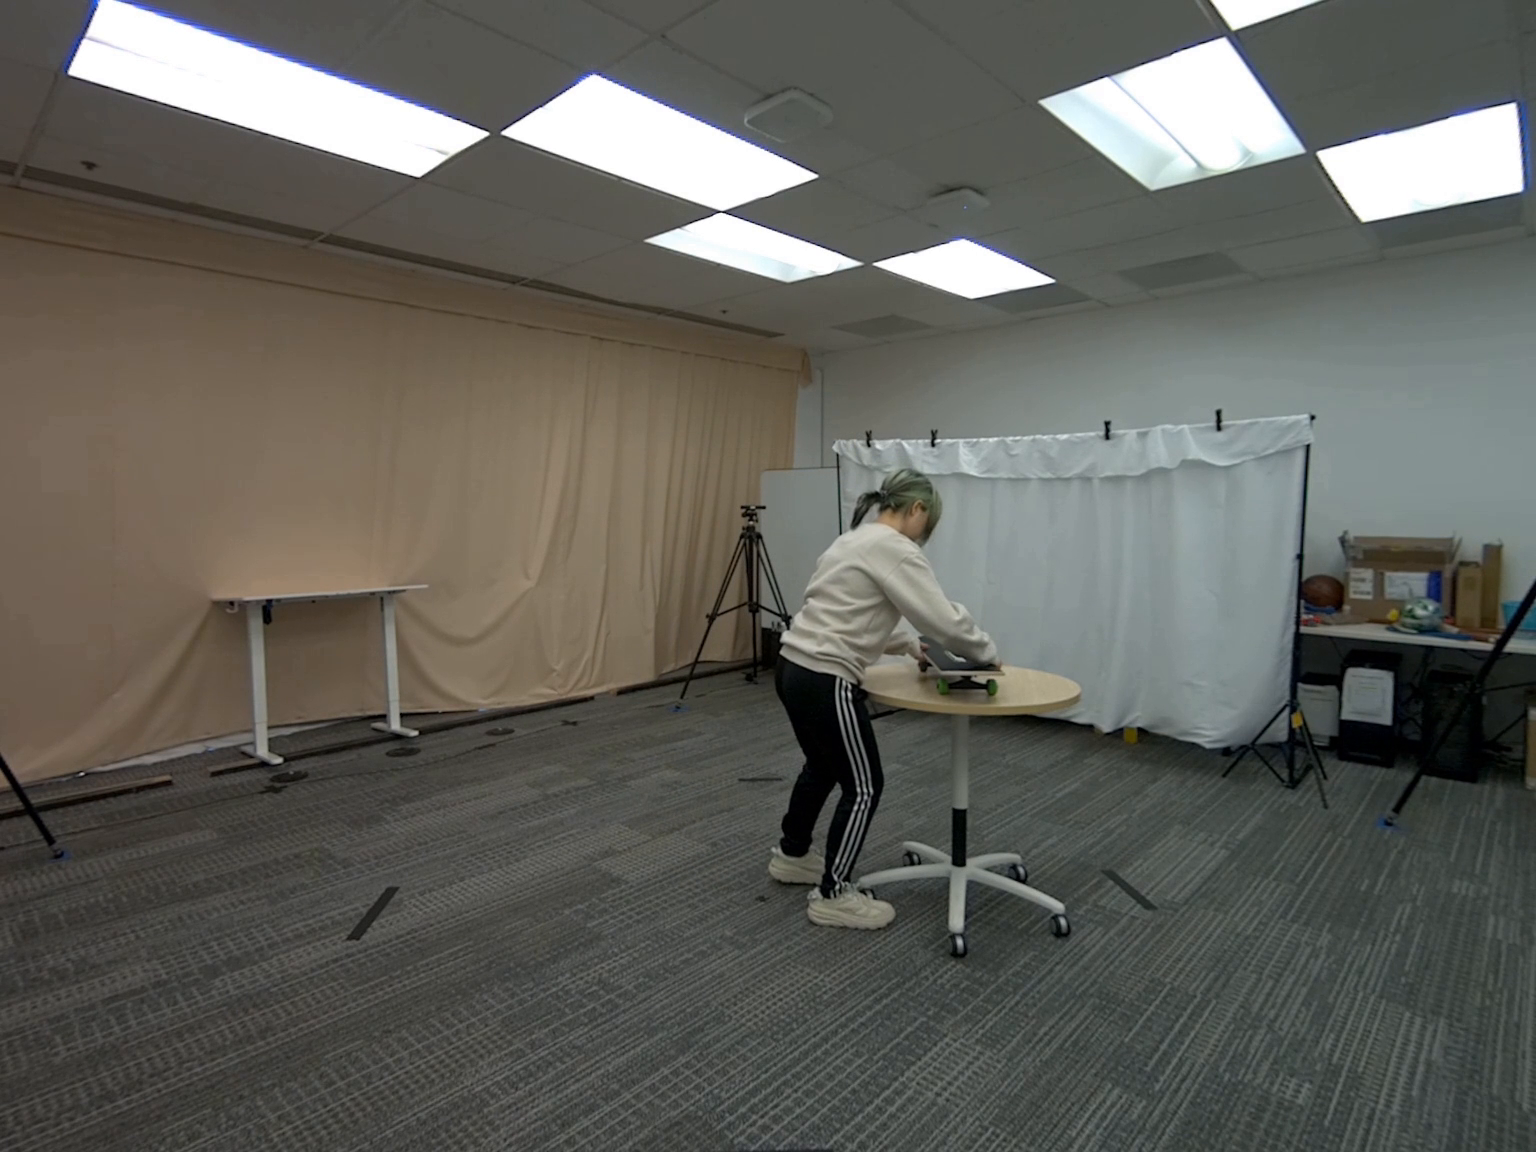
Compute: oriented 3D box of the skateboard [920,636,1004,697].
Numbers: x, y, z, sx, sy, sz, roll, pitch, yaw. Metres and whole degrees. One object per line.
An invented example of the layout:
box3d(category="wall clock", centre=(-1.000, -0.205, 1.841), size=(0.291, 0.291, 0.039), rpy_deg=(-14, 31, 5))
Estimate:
box3d(category="skateboard", centre=(0.647, 0.317, 2.893), size=(0.194, 0.110, 0.784), rpy_deg=(-1, 4, 2))
